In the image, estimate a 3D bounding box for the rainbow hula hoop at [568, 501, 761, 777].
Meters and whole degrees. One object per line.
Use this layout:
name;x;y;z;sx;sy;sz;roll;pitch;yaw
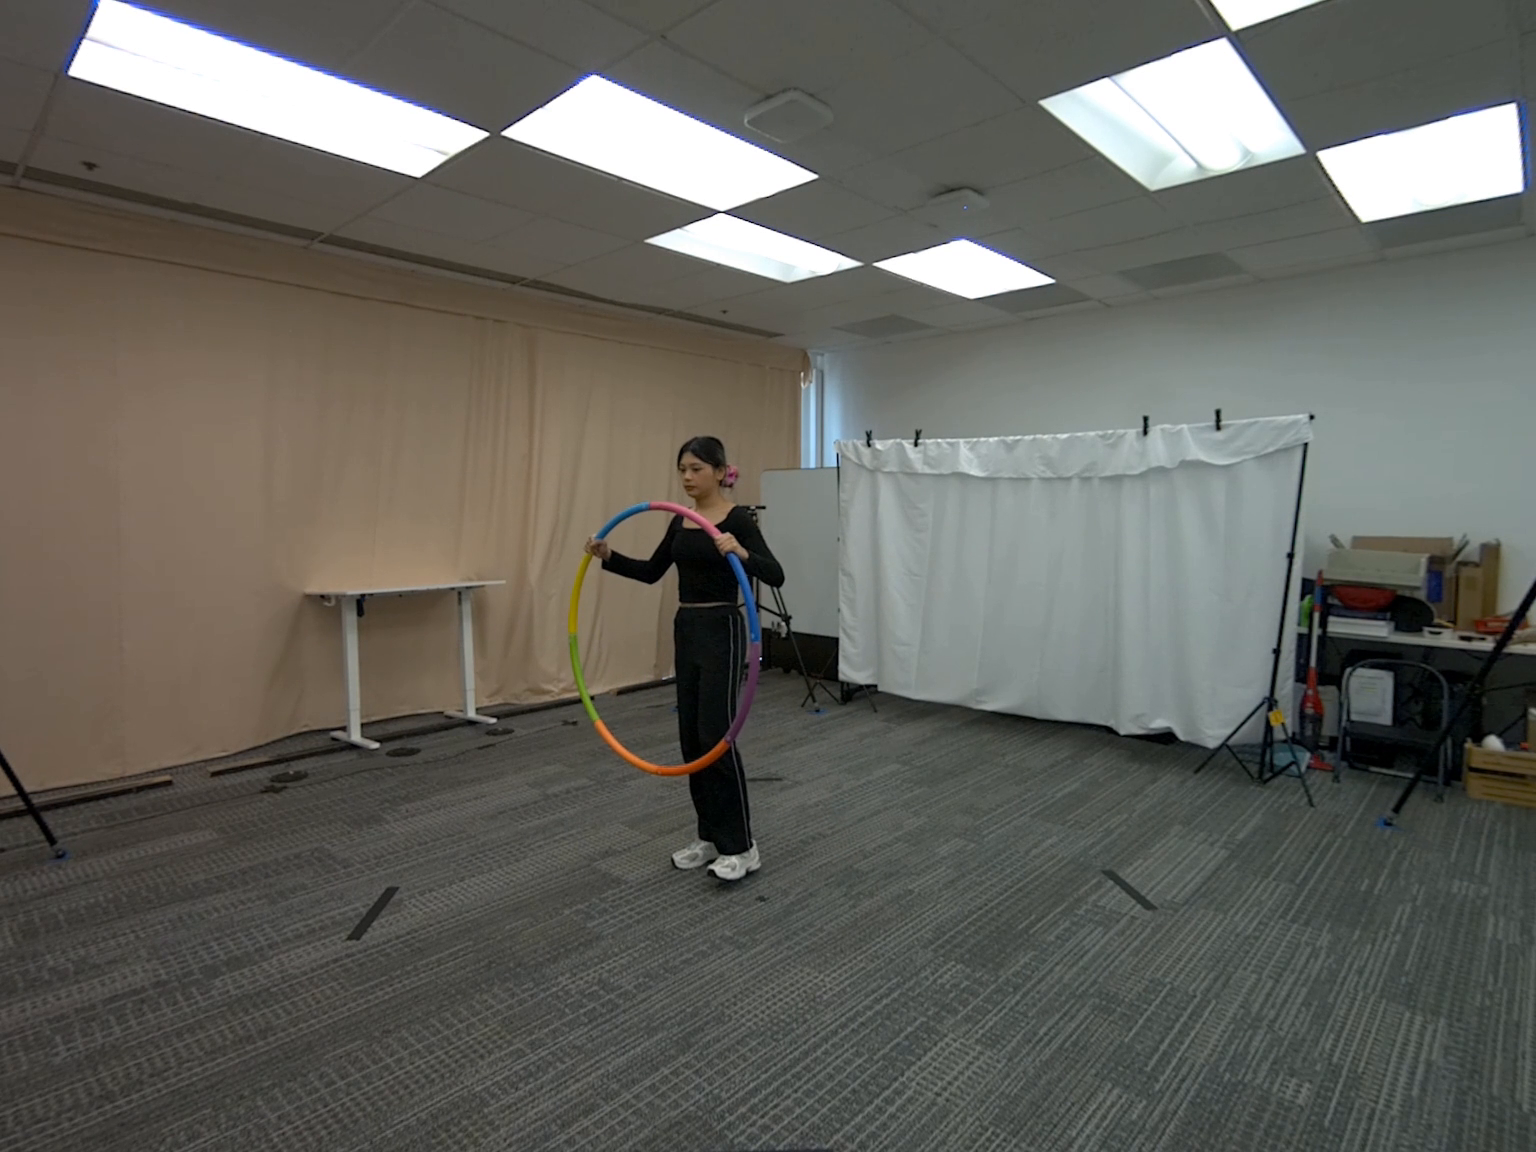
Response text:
rainbow hula hoop;-0.402;0.222;3.094;1.011;0.978;0.034;3;2;41
